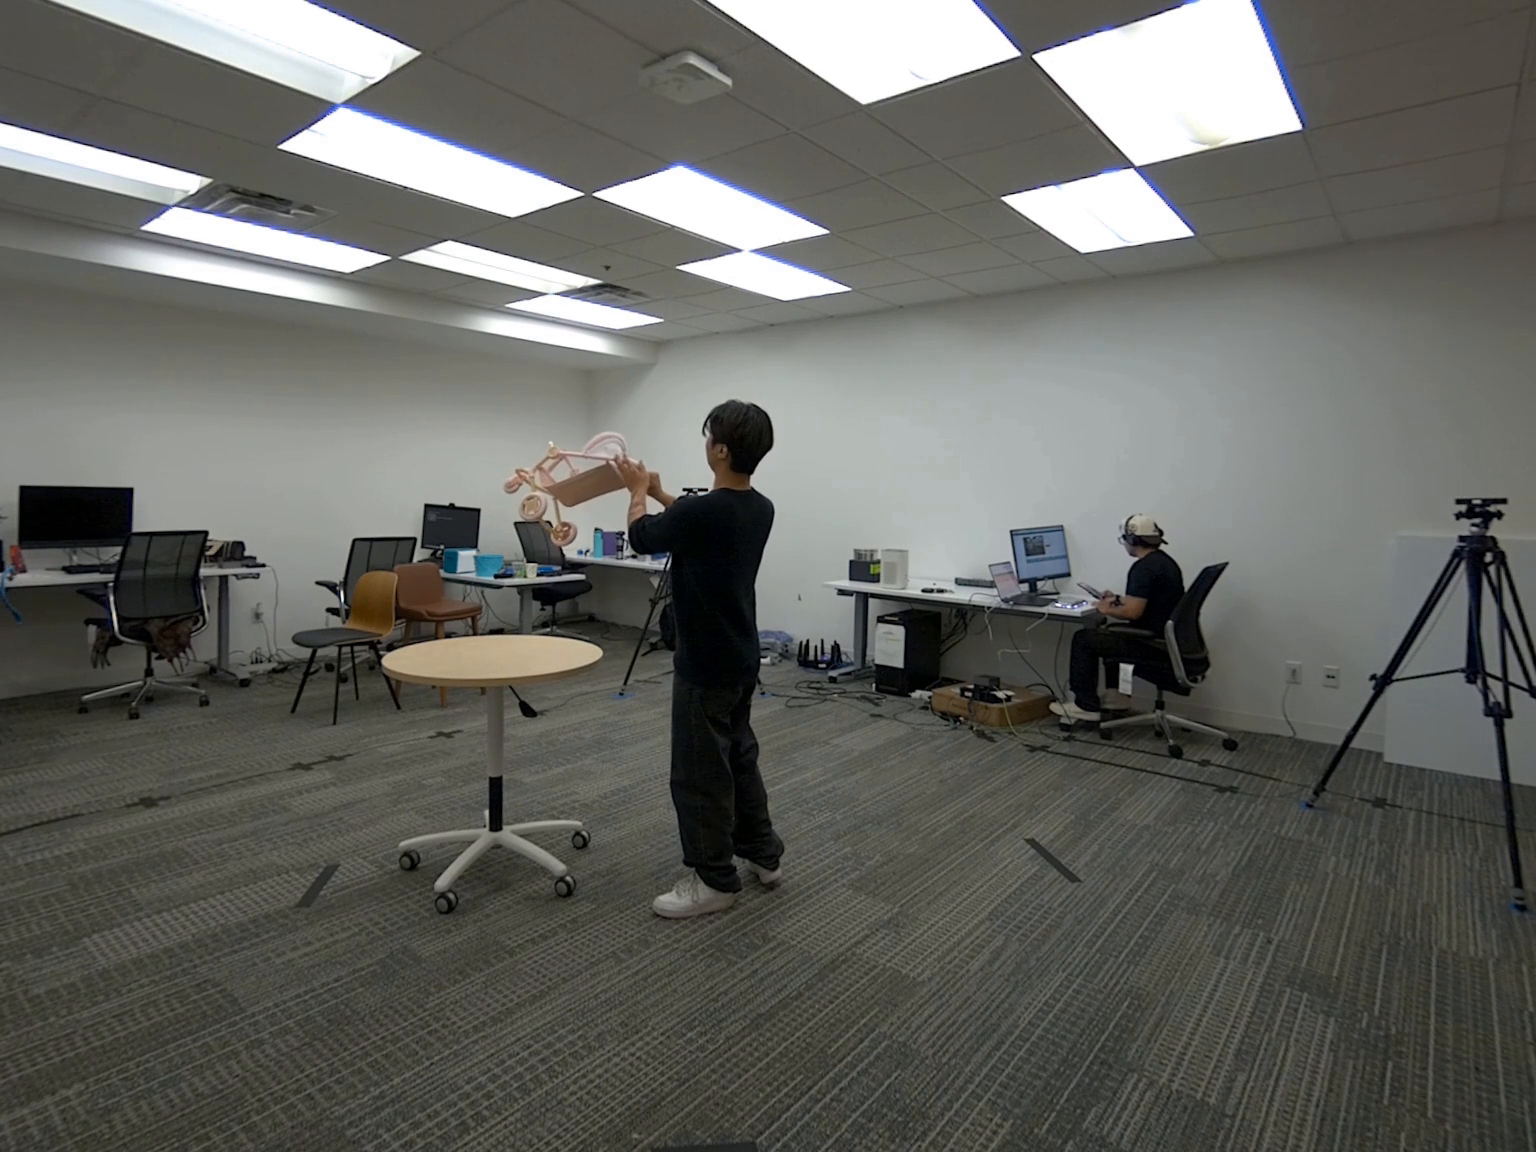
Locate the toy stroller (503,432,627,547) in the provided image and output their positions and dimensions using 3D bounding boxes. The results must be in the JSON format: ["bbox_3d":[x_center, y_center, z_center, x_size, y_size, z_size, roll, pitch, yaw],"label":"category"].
[{"bbox_3d":[-0.747,-0.367,3.207,0.536,0.354,0.271,-32,-31,5],"label":"toy stroller"}]
